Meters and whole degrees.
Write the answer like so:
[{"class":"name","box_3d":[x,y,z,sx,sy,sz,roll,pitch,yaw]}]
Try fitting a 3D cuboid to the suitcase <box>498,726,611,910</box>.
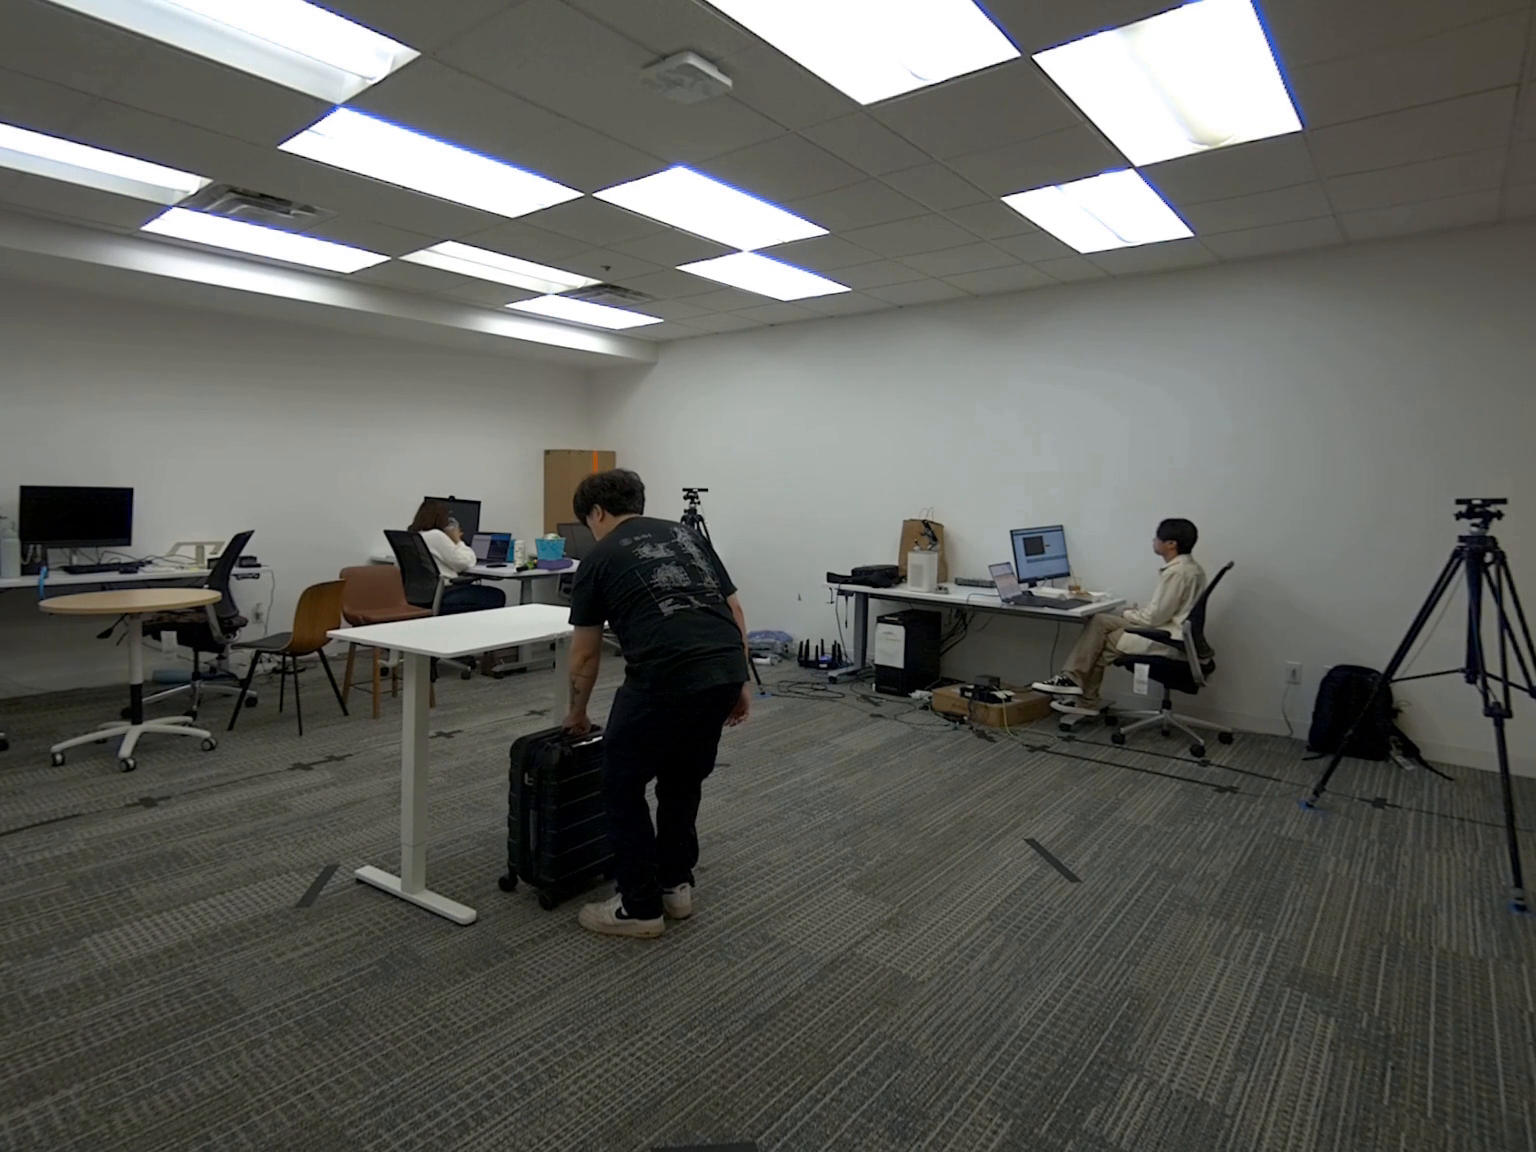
[{"class":"suitcase","box_3d":[-0.718,0.798,2.959,0.256,0.548,0.365,4,4,34]}]
